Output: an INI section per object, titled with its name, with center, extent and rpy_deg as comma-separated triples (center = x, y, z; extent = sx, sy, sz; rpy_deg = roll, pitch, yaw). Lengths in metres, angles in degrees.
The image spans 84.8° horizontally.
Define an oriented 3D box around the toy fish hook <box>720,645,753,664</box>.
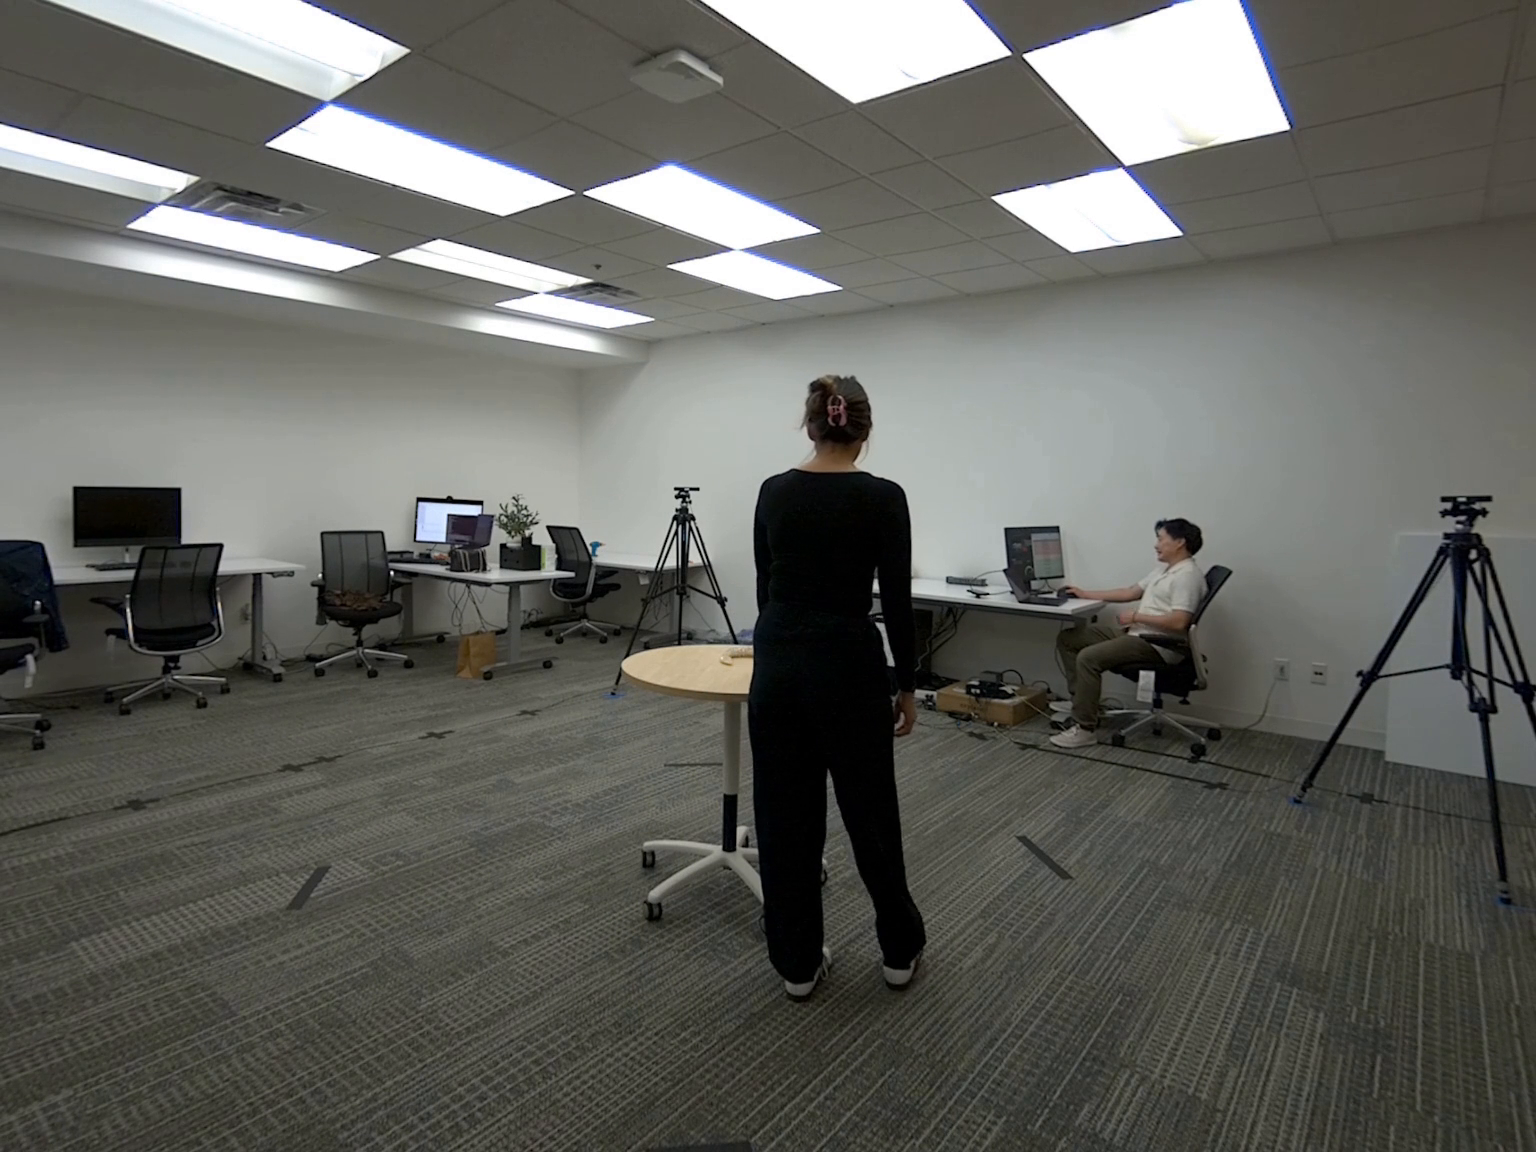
[toy fish hook]
center = -0.040, 0.299, 2.859
extent = 0.222, 0.048, 0.513
rpy_deg = -7, 5, -11
